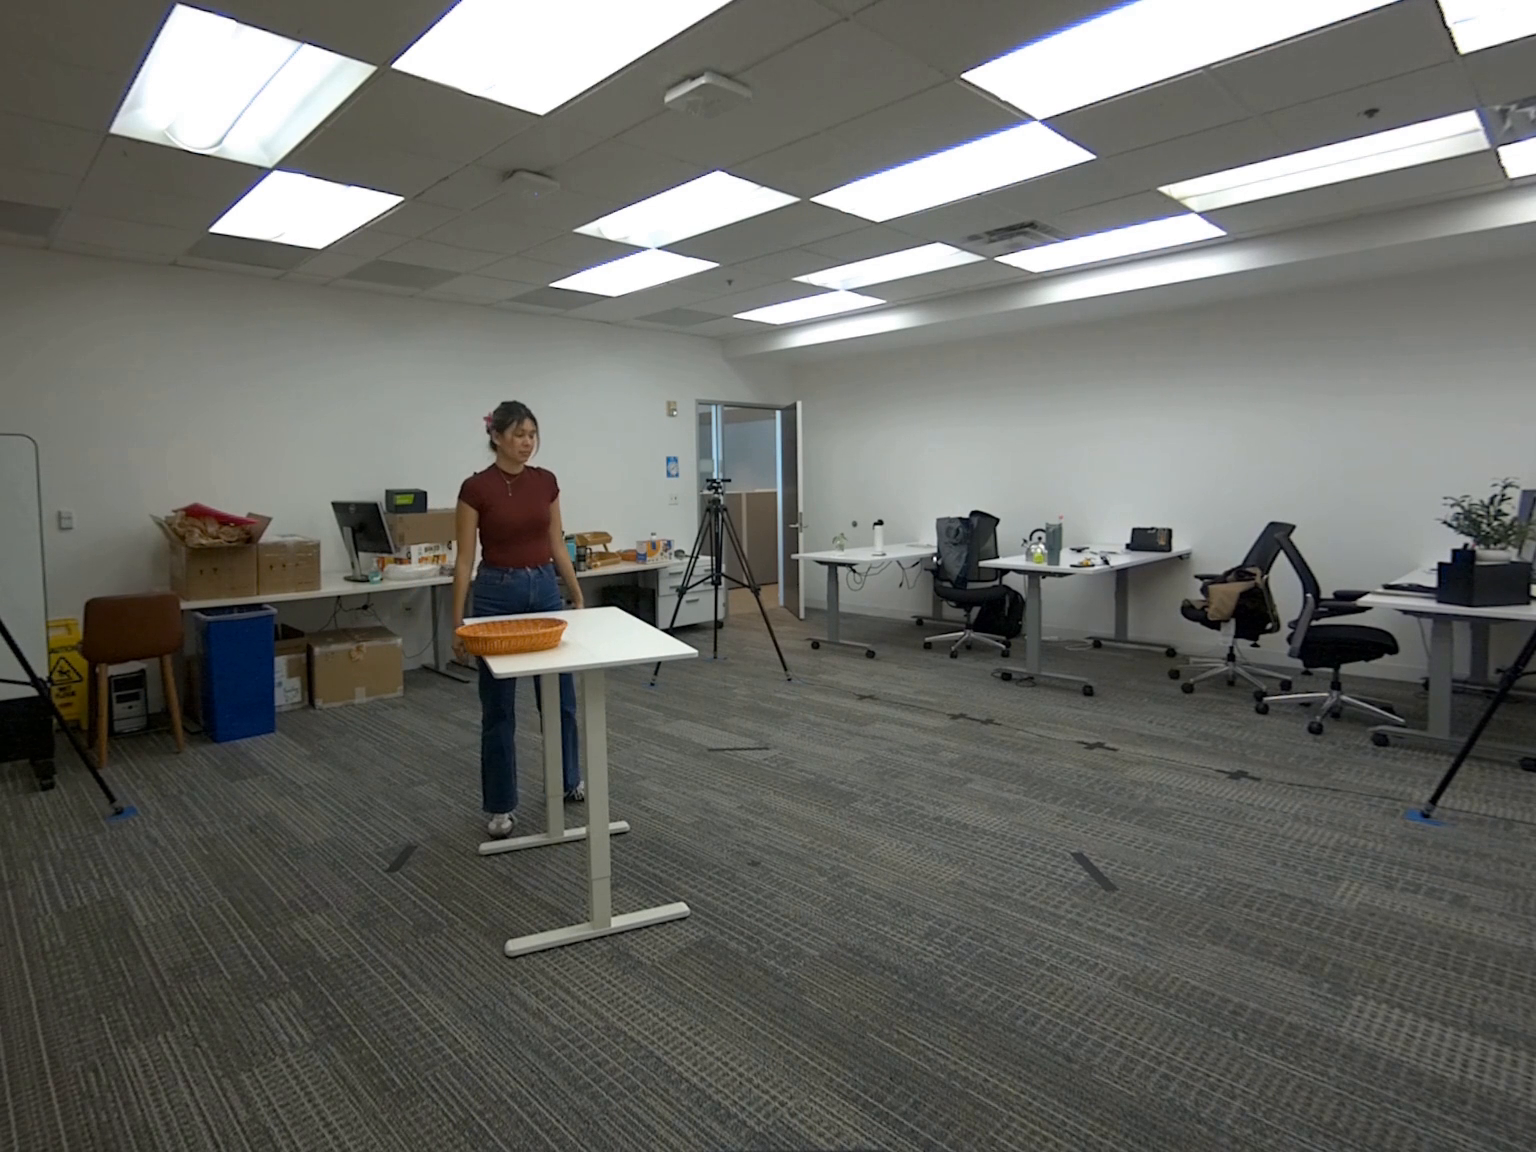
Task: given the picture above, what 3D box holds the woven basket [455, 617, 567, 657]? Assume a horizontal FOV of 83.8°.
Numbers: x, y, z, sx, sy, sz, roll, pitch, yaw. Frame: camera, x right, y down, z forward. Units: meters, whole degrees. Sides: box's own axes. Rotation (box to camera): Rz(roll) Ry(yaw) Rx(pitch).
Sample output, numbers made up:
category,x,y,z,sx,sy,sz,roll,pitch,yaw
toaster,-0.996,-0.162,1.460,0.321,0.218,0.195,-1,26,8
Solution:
category,x,y,z,sx,sy,sz,roll,pitch,yaw
woven basket,-0.806,0.200,2.674,0.345,0.073,0.258,-4,8,-18
